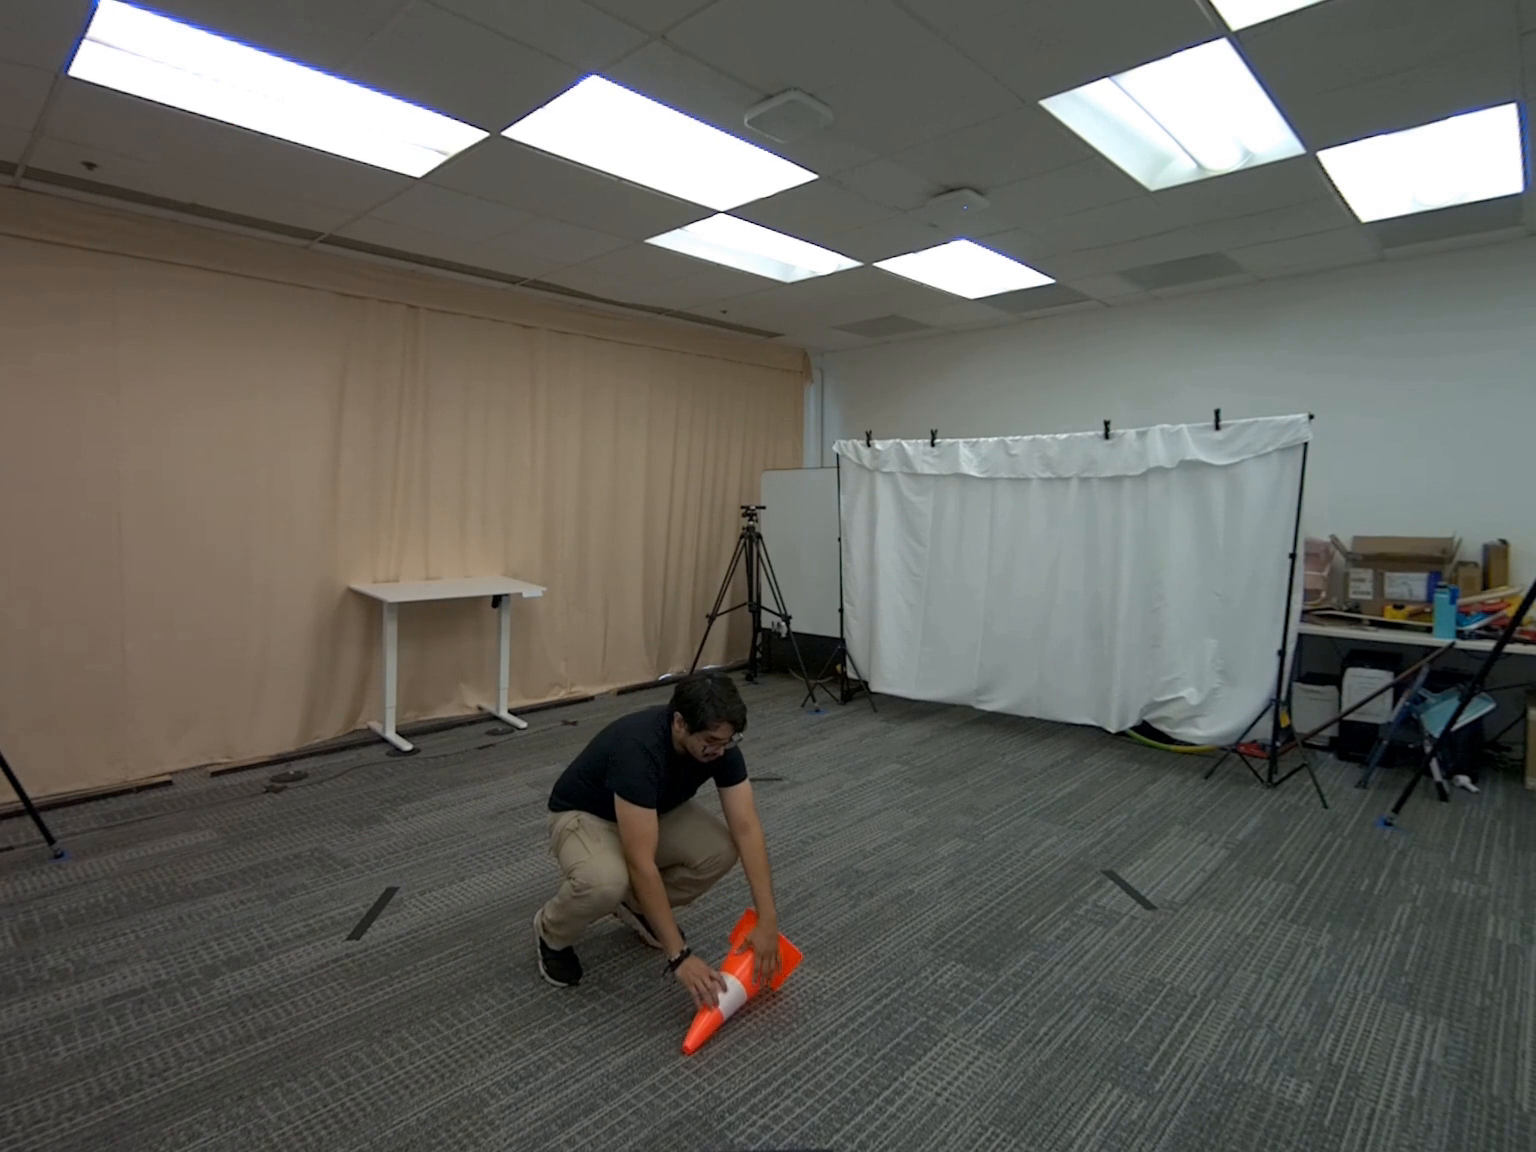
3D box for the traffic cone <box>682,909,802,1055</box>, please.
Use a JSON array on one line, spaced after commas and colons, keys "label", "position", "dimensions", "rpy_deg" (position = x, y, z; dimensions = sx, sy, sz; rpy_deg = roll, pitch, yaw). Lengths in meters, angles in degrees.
[{"label": "traffic cone", "position": [-0.101, 1.145, 2.259], "dimensions": [0.209, 0.202, 0.378], "rpy_deg": [34, 37, 15]}]
